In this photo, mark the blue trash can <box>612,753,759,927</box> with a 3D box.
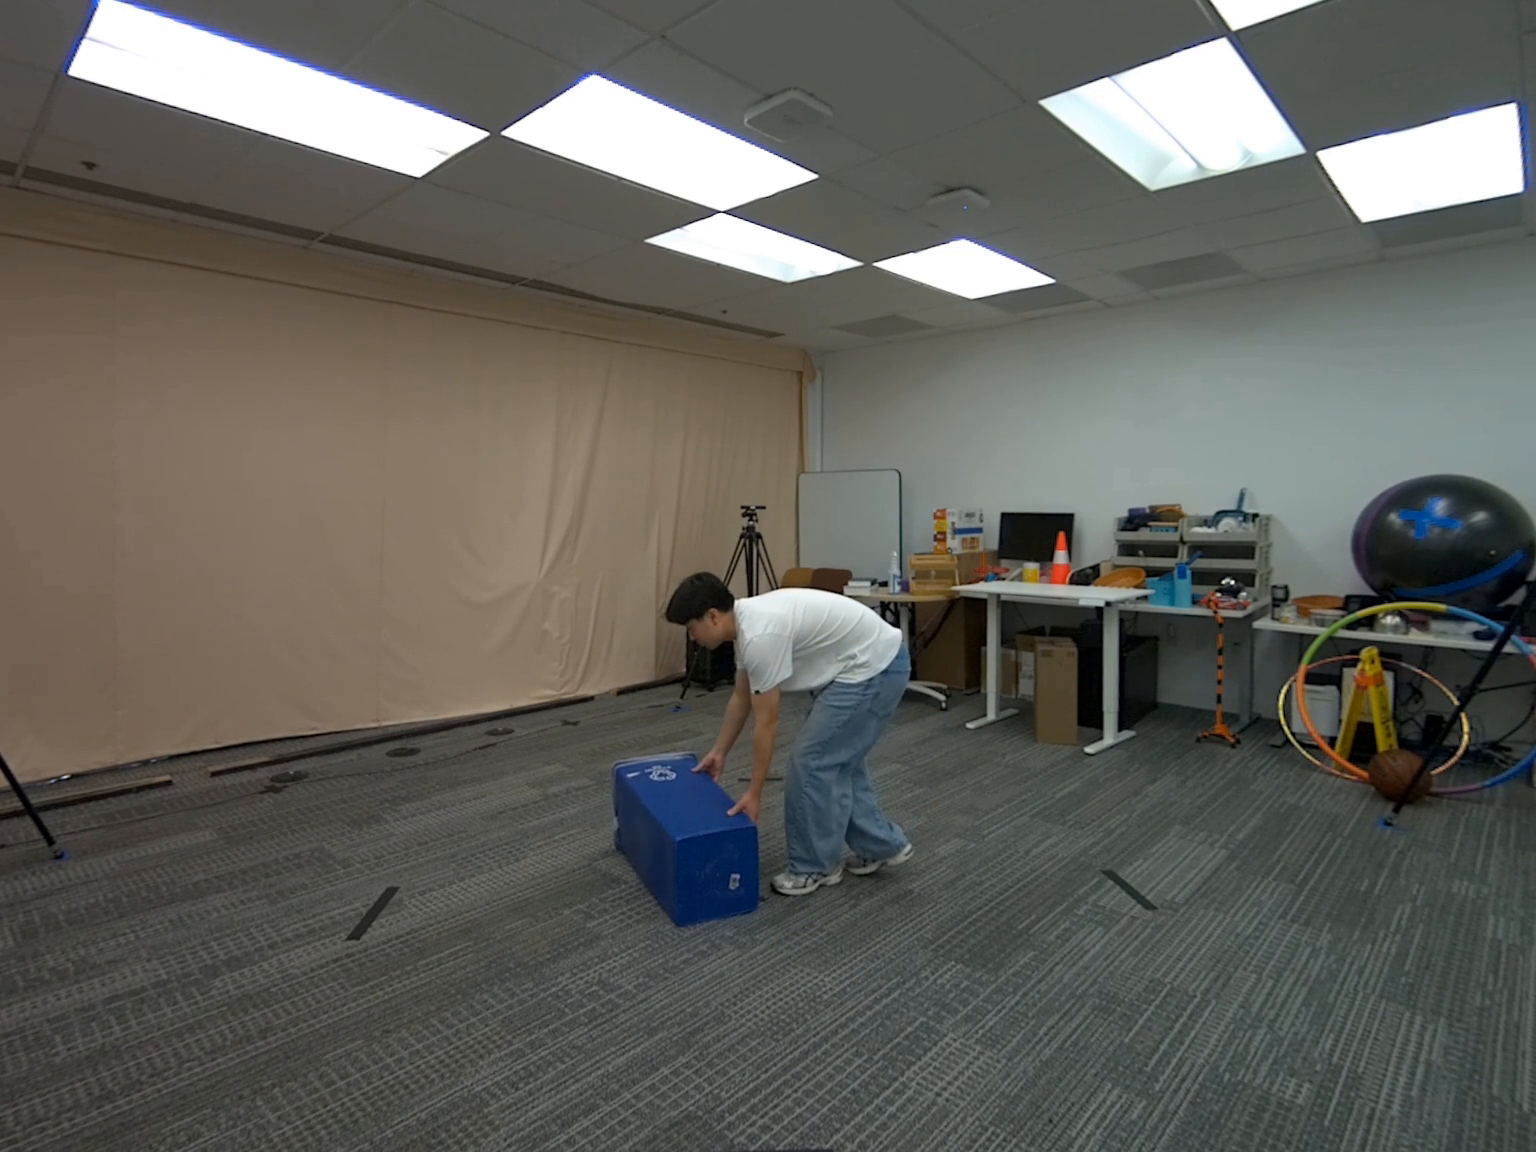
[{"bbox_3d":[-0.312,0.967,3.148,0.365,0.376,0.733,-2,8,-24],"label":"blue trash can"}]
